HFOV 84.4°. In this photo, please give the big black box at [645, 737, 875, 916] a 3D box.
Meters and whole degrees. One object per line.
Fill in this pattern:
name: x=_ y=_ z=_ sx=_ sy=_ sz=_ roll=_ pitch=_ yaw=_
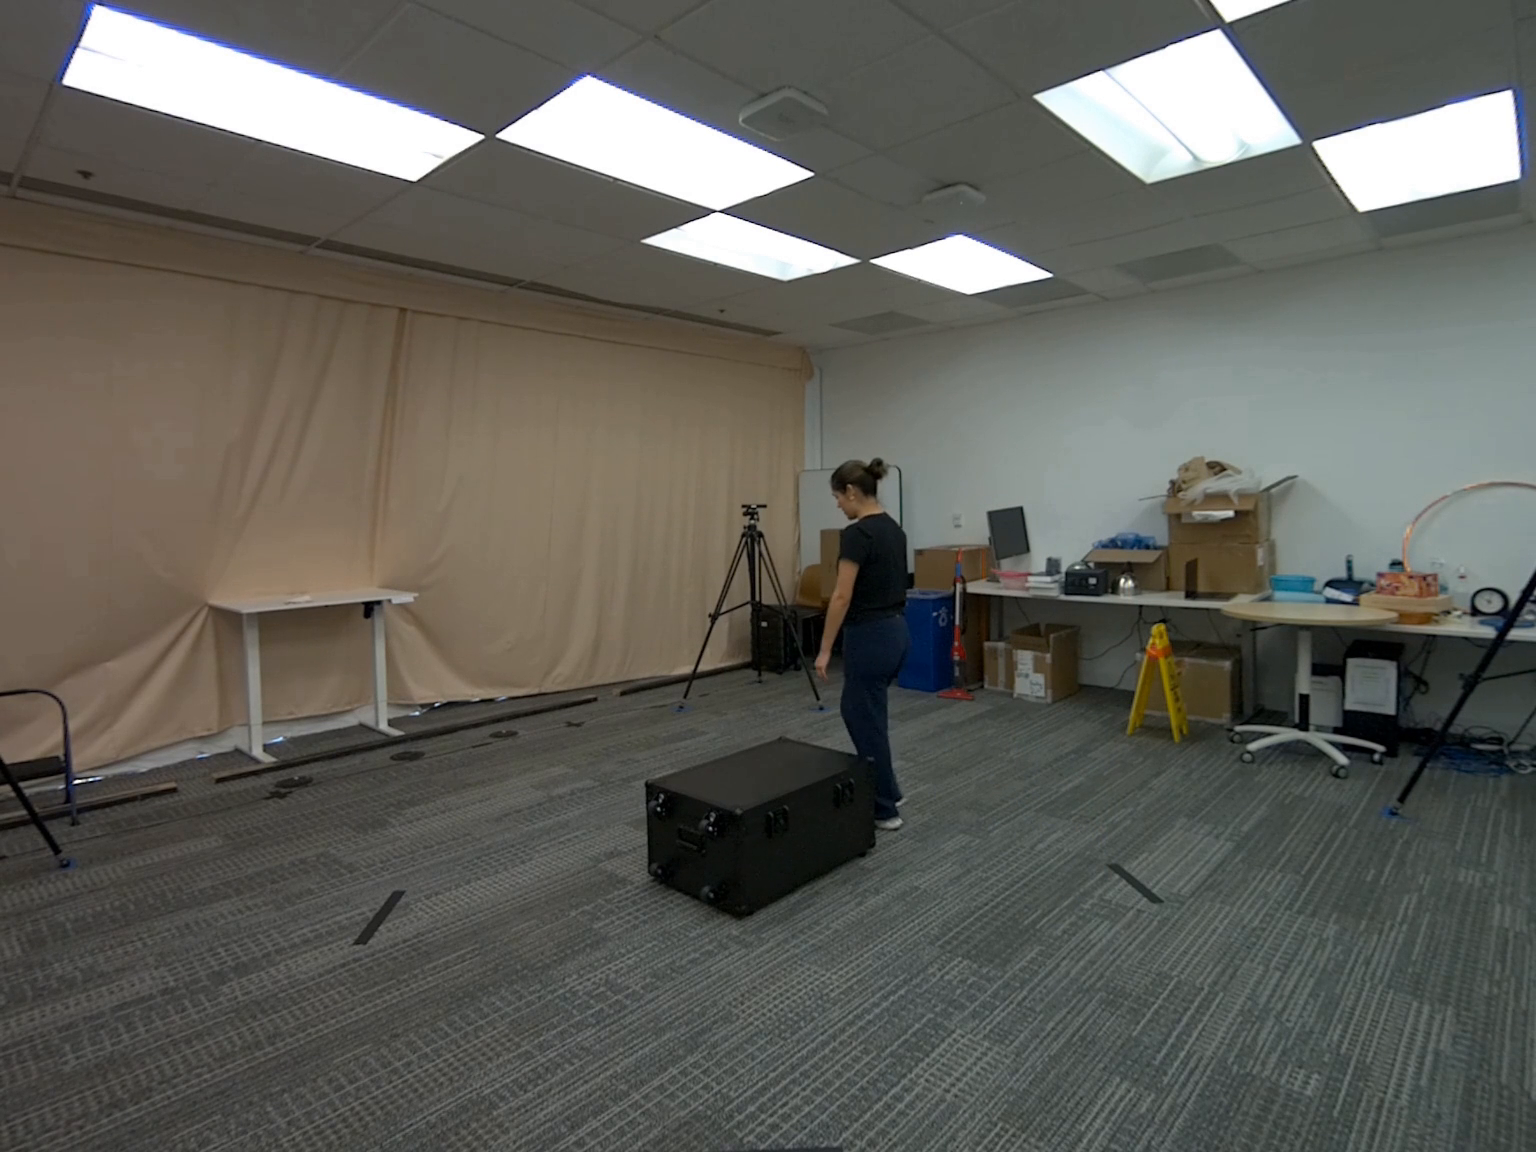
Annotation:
big black box: x=-0.026 y=0.930 z=3.216 sx=0.538 sy=0.395 sz=0.835 roll=3 pitch=5 yaw=43
